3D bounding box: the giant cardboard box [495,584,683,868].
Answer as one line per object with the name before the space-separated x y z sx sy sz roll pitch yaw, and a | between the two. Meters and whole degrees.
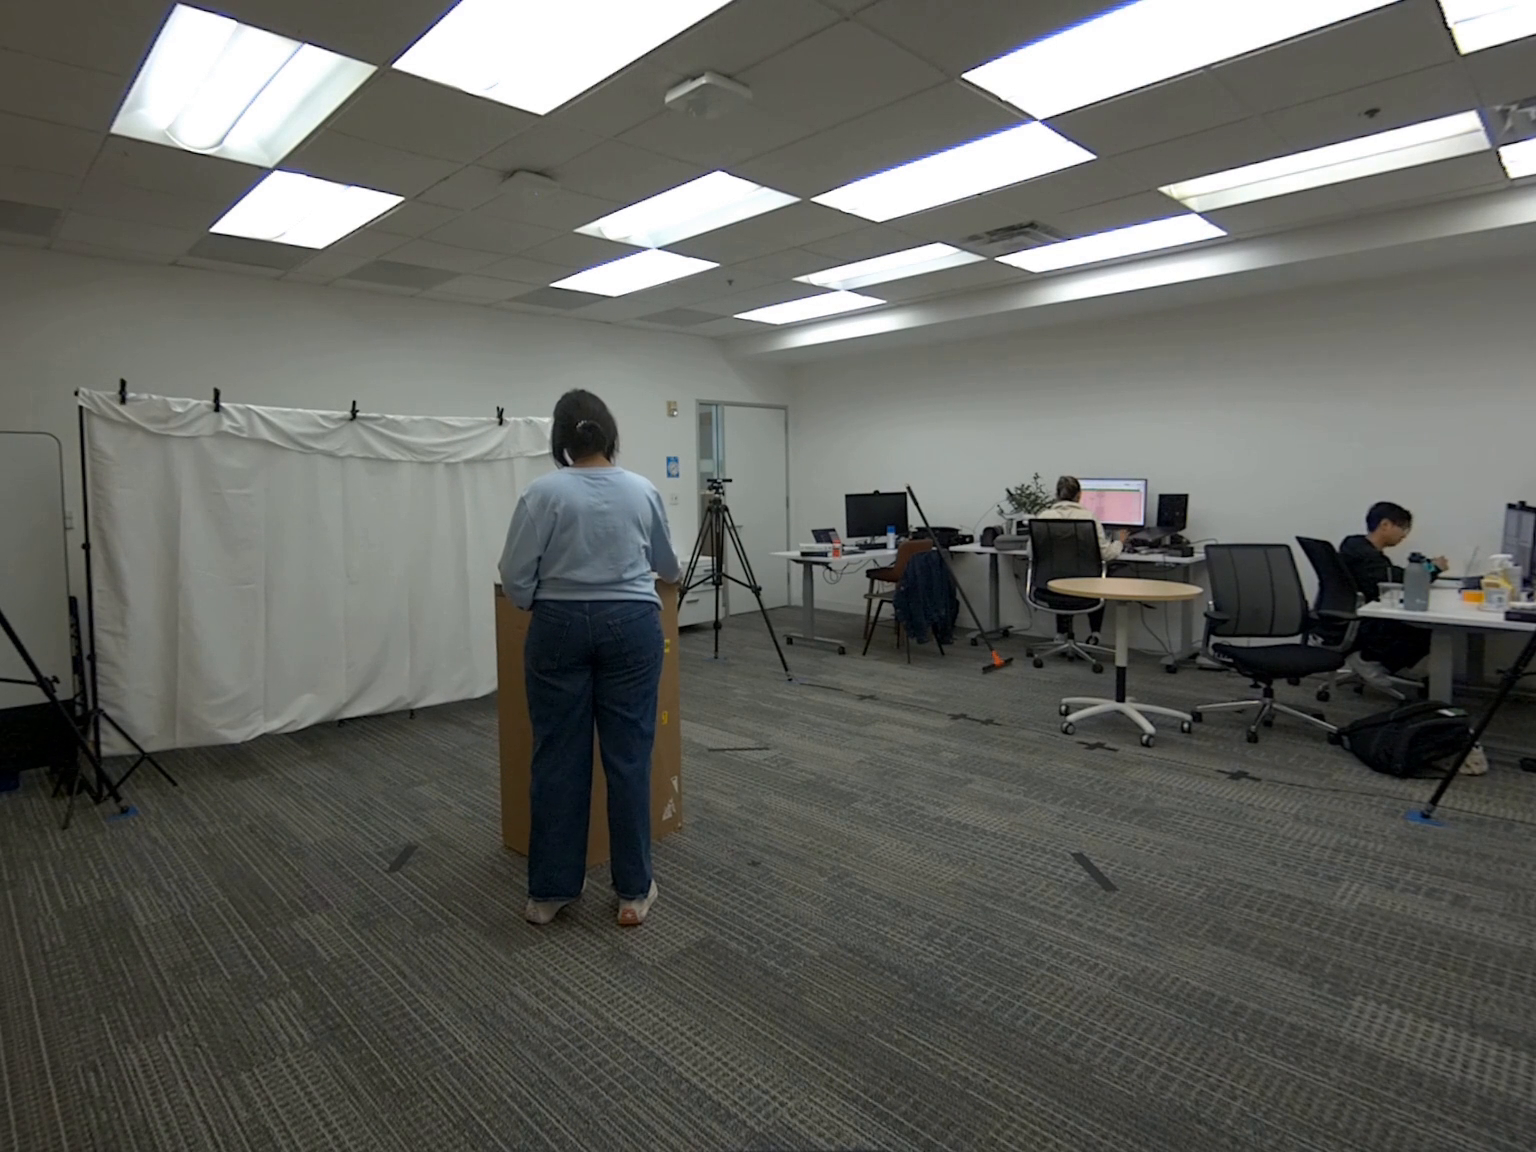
giant cardboard box | -0.692 0.520 3.345 0.460 1.023 0.568 3 6 43
